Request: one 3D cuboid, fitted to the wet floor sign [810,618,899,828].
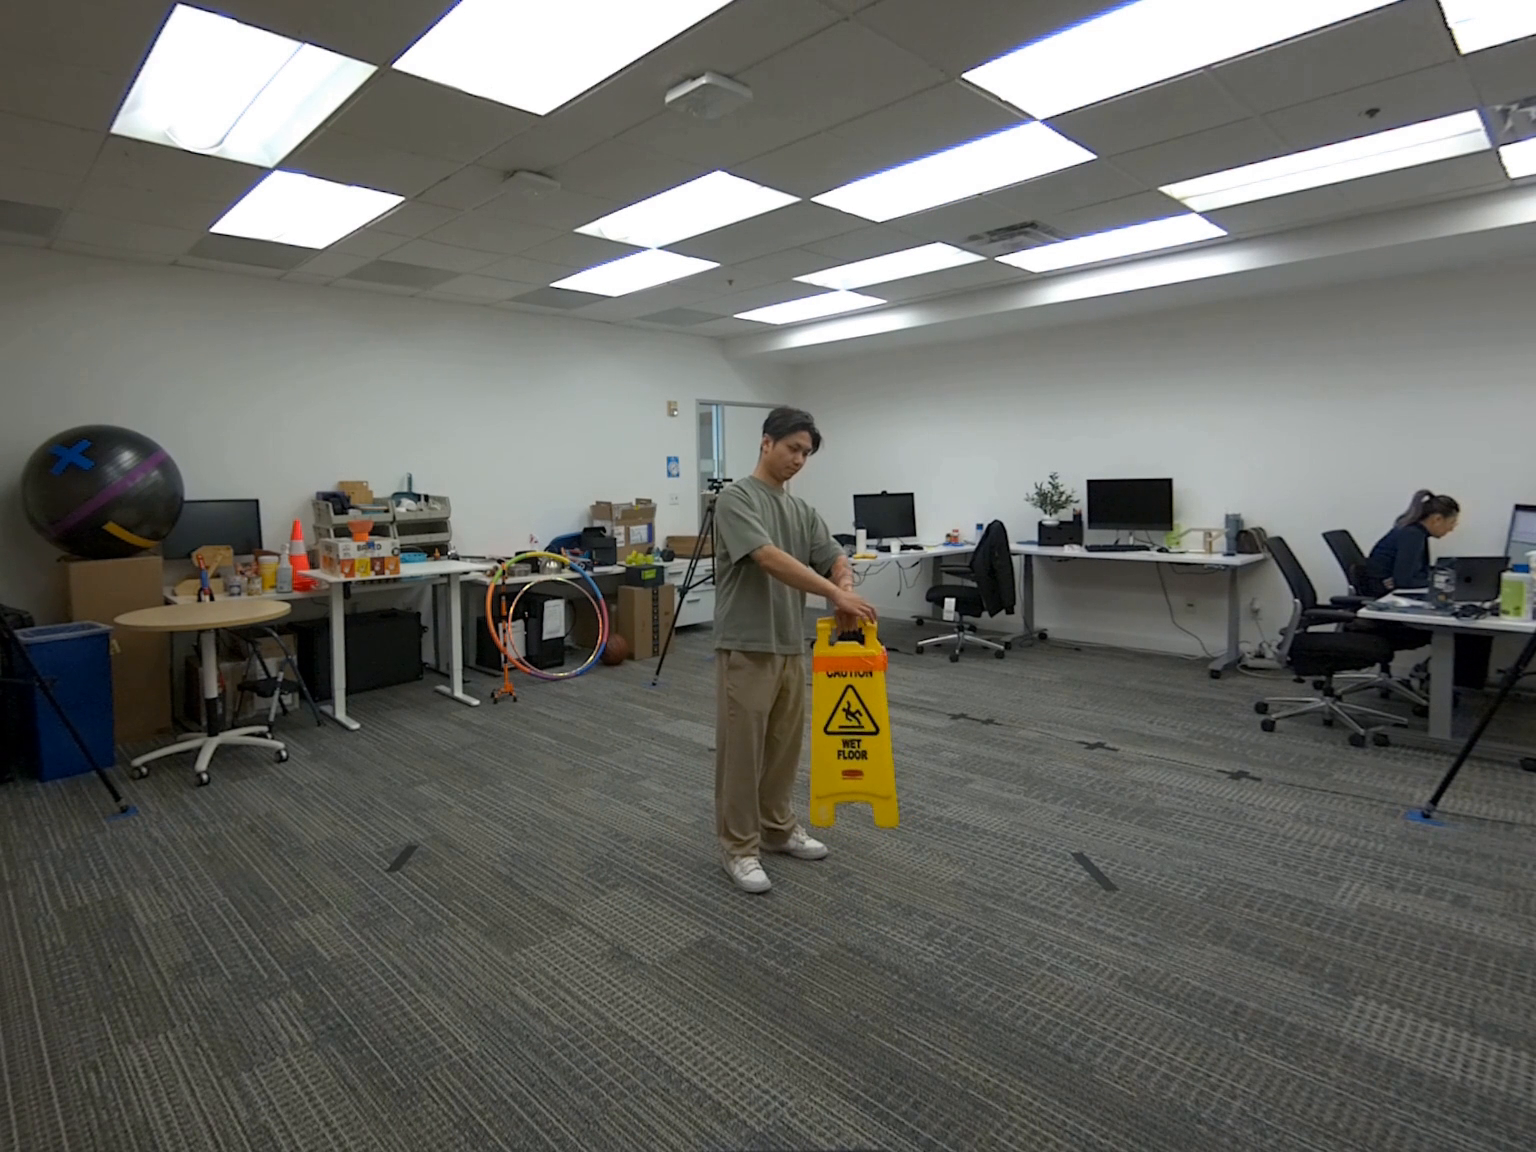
[{"bbox_3d":[0.277,0.477,2.833,0.283,0.646,0.289,-1,1,3],"label":"wet floor sign"}]
